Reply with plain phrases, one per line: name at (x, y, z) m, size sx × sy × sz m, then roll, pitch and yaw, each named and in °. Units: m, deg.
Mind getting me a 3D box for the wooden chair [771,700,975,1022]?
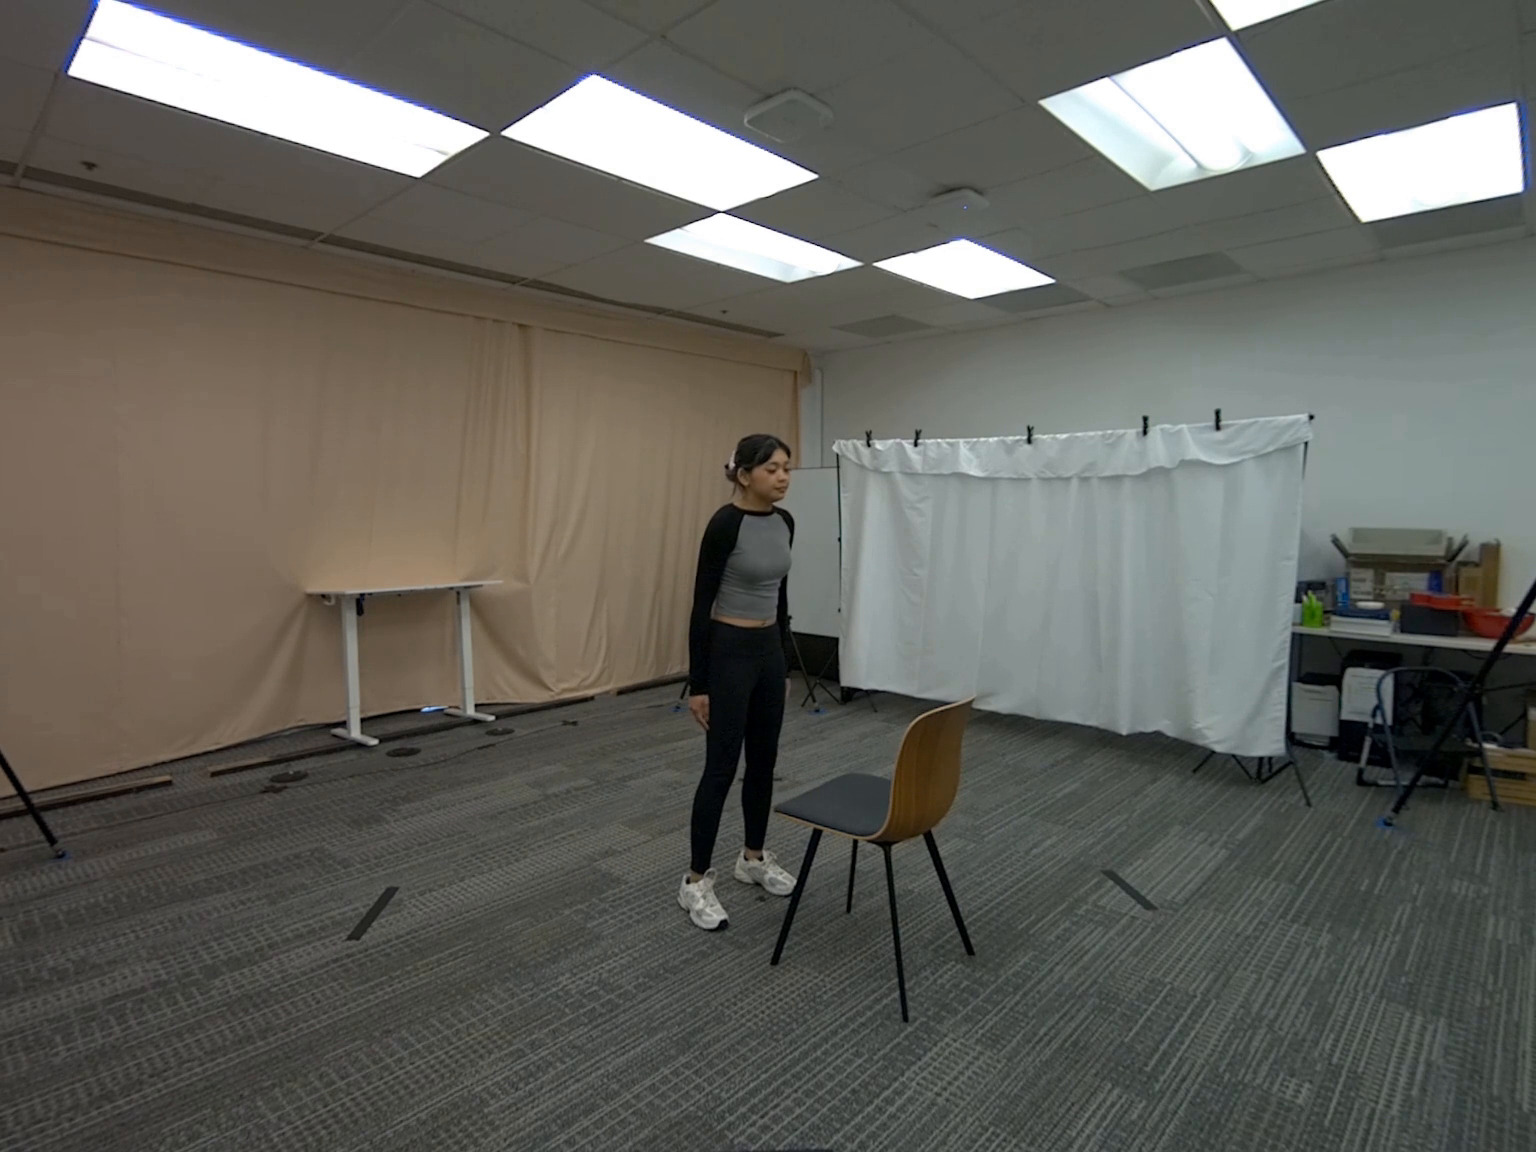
wooden chair at (0.322, 0.751, 2.555) m, size 0.541 × 0.874 × 0.464 m, roll 8°, pitch 8°, yaw 38°
